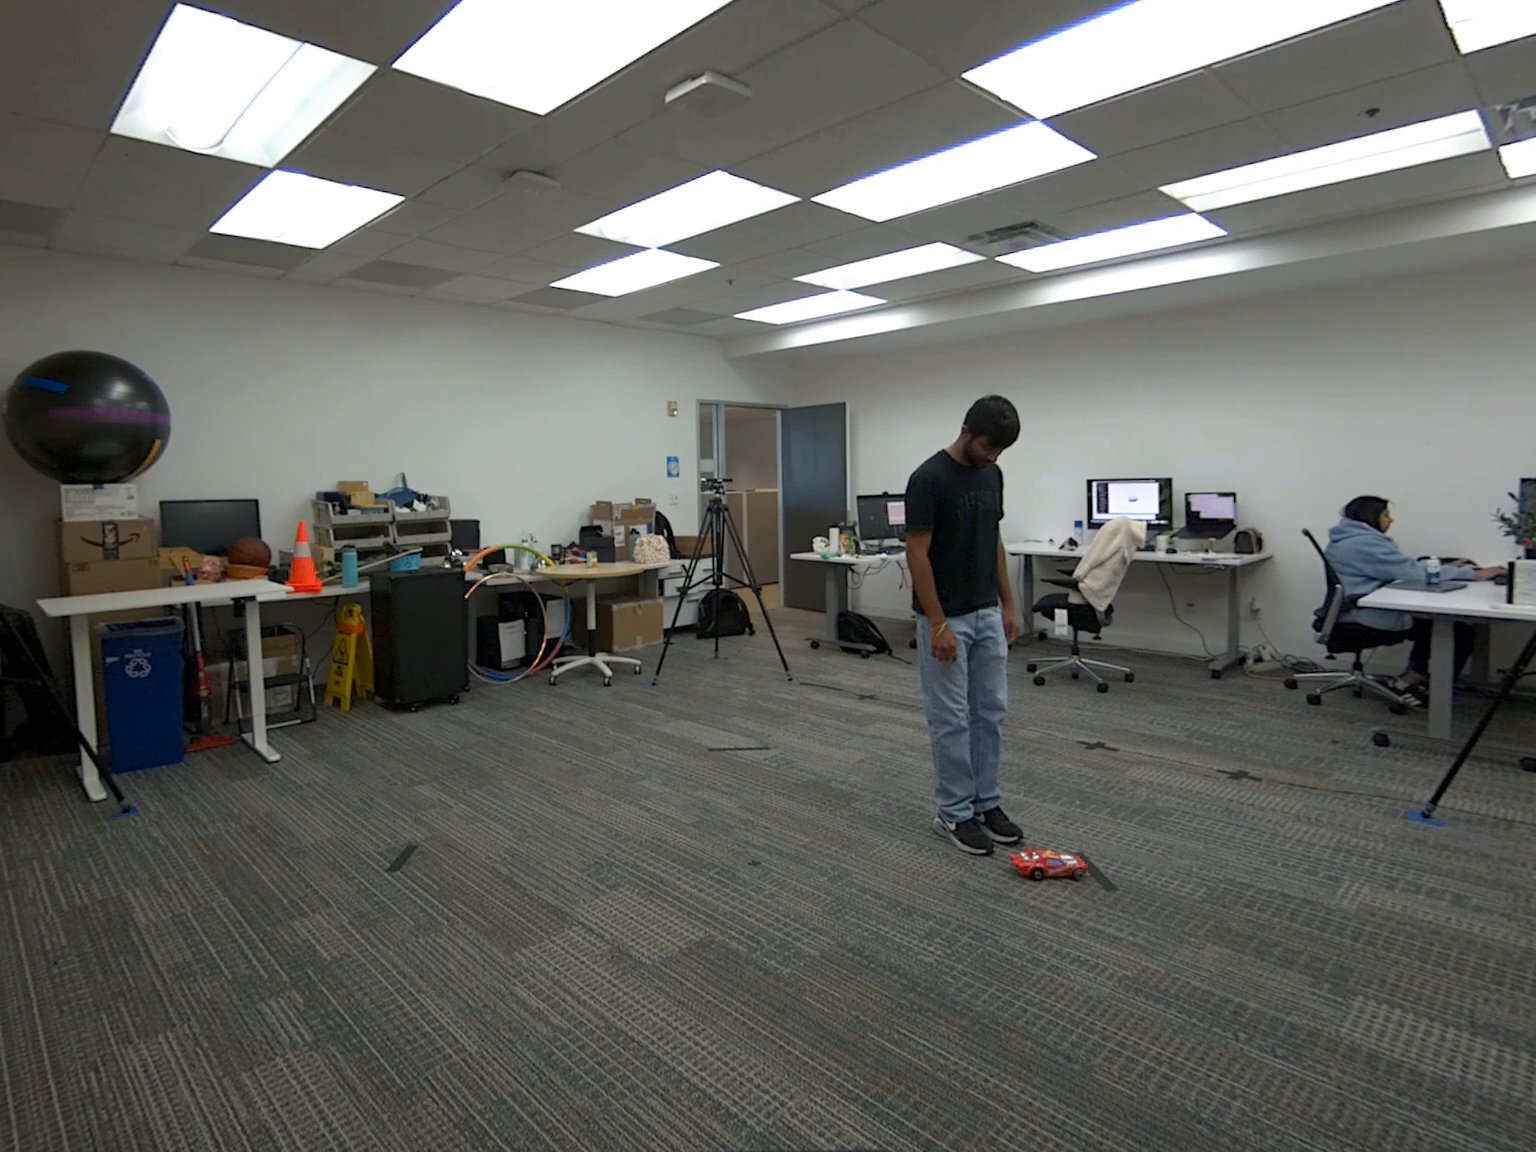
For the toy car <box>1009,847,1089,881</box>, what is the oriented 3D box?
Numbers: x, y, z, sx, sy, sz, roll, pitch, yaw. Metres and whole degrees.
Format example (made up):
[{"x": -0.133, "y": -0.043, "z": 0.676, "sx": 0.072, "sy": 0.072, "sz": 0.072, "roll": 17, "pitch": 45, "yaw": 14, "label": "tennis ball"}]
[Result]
[{"x": 0.982, "y": 1.016, "z": 2.984, "sx": 0.255, "sy": 0.083, "sz": 0.130, "roll": 10, "pitch": 6, "yaw": 1, "label": "toy car"}]
